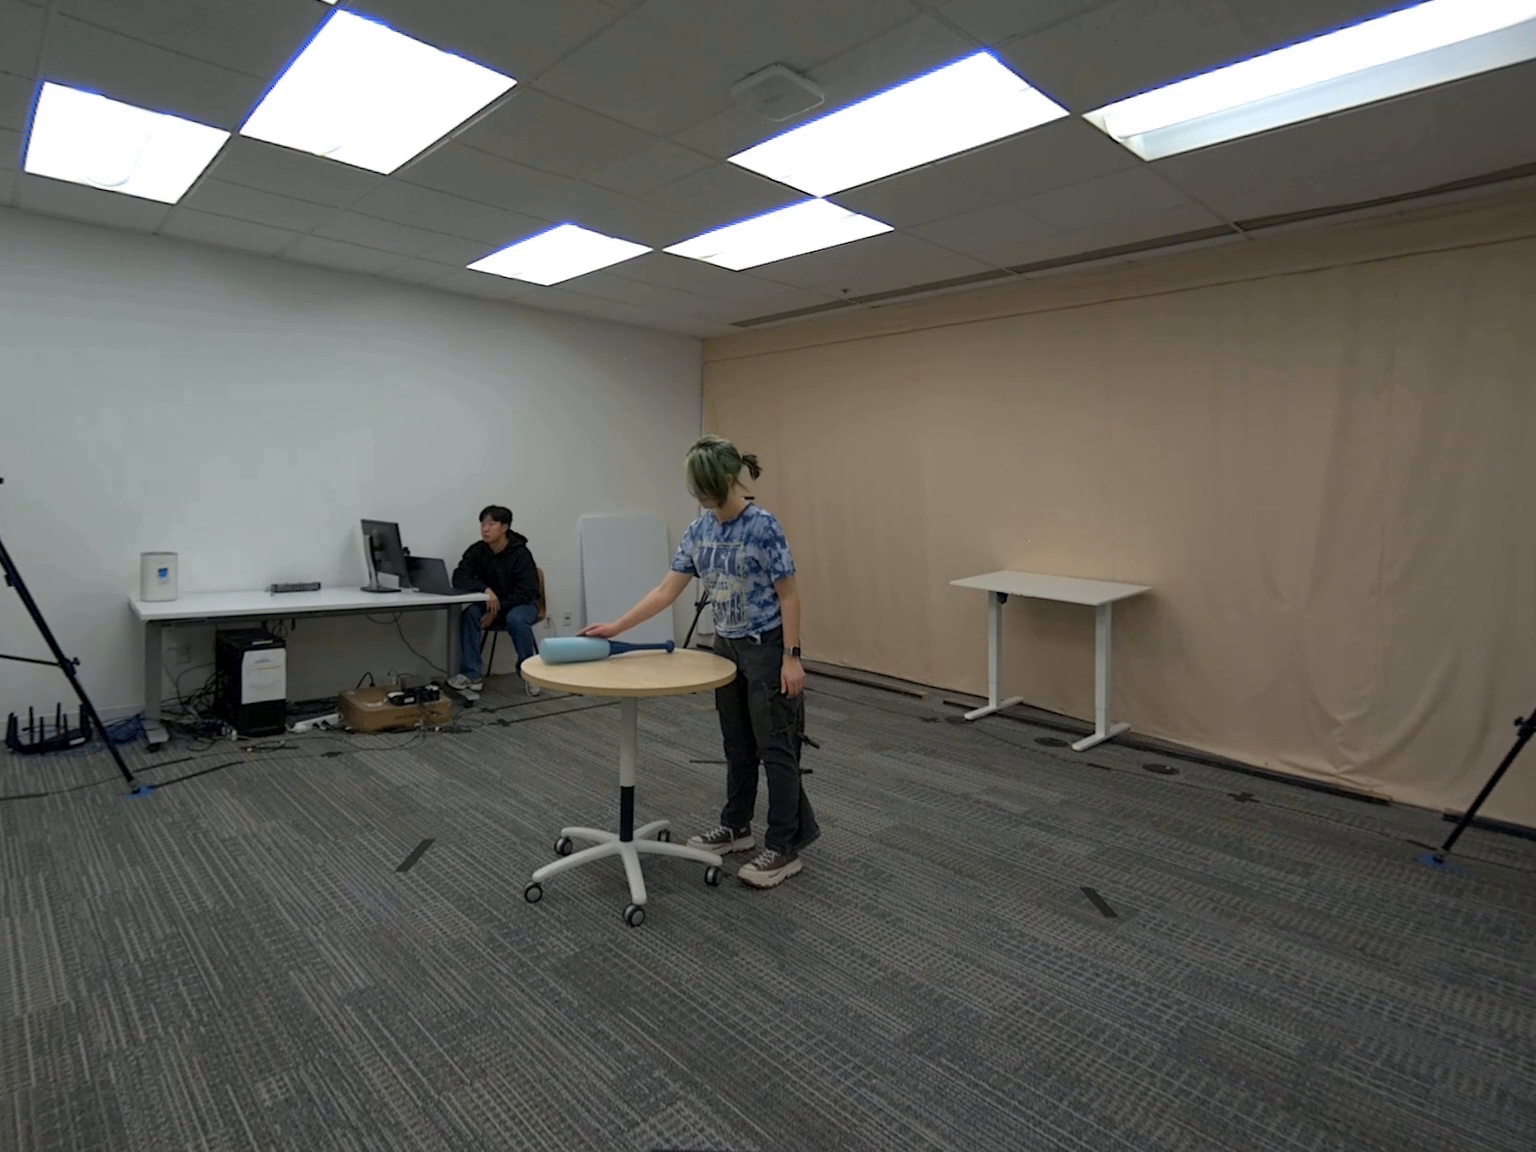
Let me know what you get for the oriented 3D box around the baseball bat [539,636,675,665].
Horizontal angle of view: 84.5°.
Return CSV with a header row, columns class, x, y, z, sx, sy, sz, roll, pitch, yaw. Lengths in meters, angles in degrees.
class,x,y,z,sx,sy,sz,roll,pitch,yaw
baseball bat,-0.596,0.276,3.127,0.530,0.089,0.091,3,2,-39
